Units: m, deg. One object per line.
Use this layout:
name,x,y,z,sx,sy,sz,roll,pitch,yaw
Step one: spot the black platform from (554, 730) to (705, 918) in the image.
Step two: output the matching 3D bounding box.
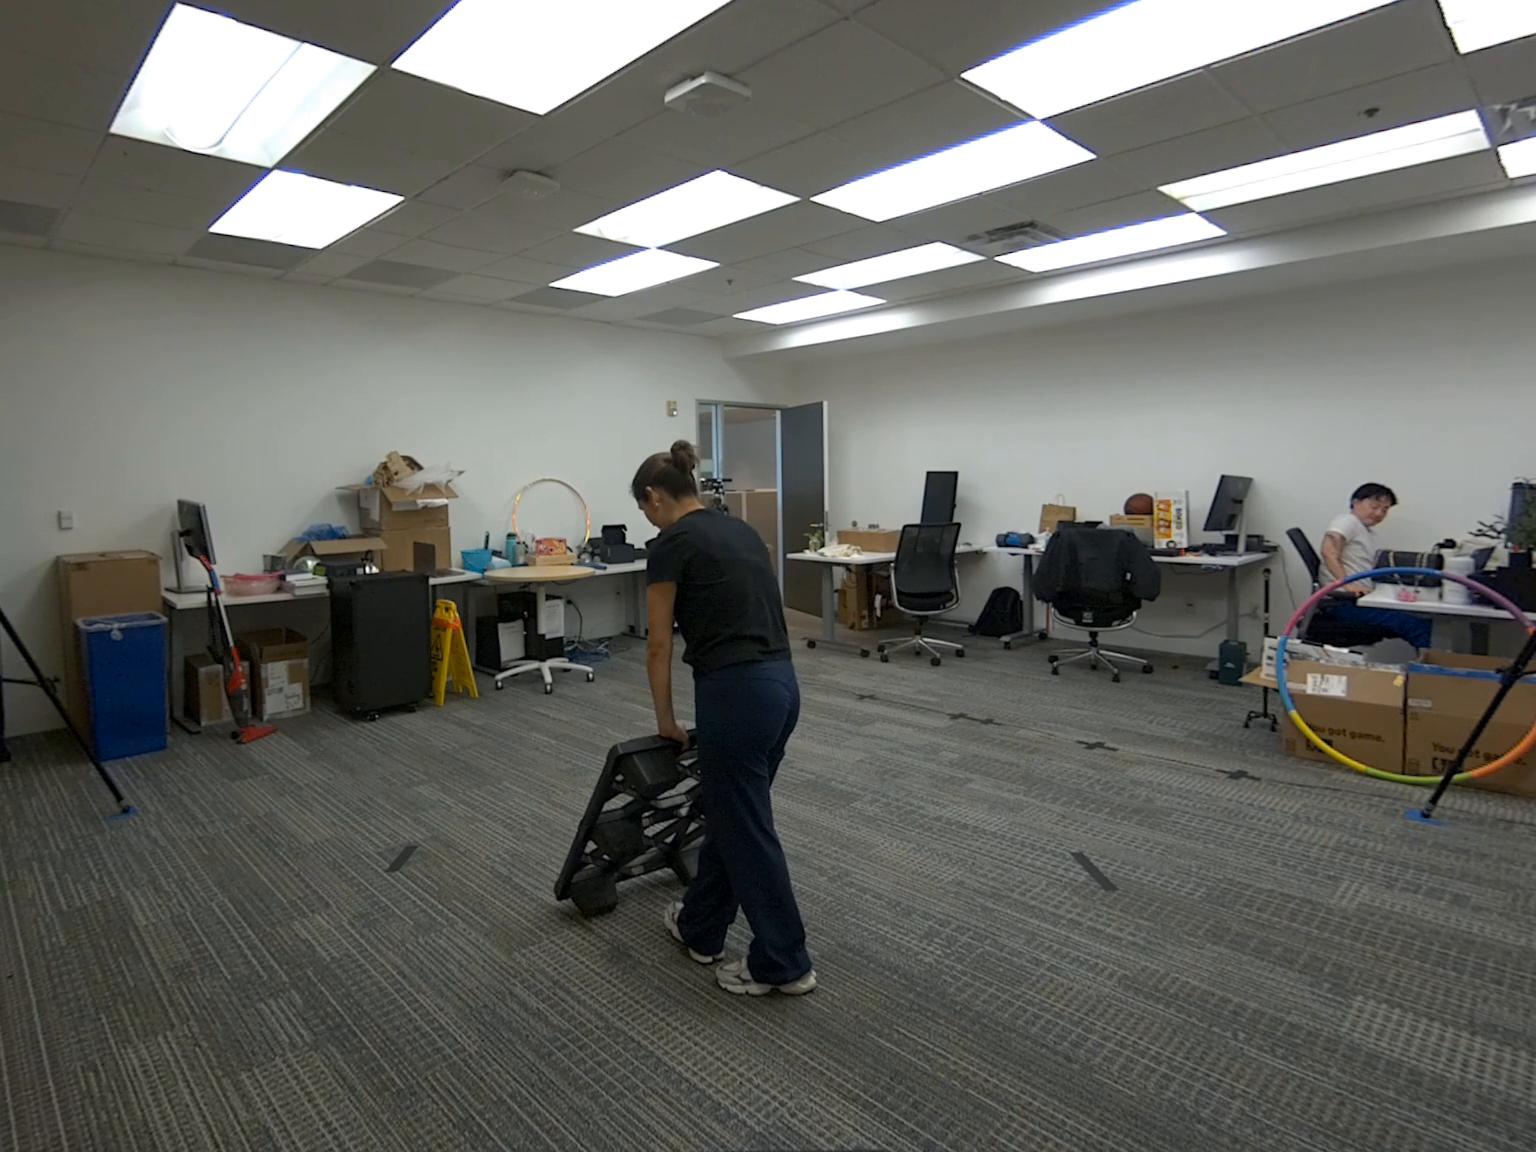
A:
black platform,-0.296,0.768,2.705,0.590,0.795,0.149,-4,44,-34
